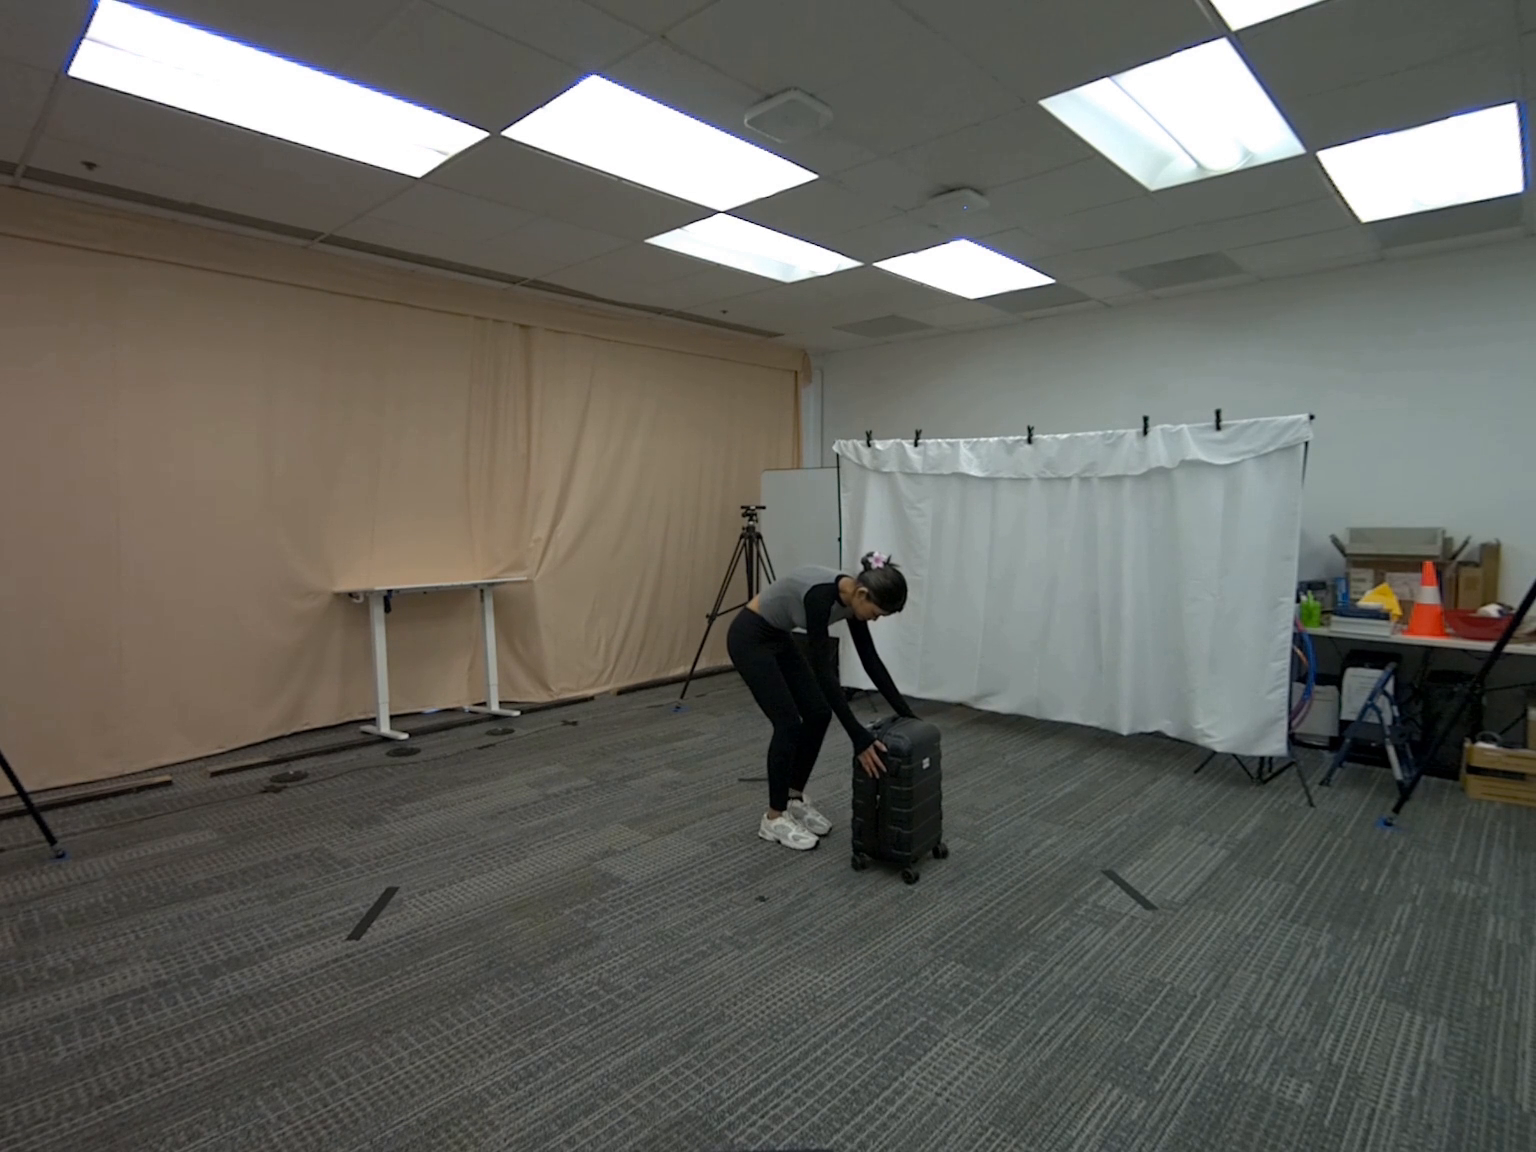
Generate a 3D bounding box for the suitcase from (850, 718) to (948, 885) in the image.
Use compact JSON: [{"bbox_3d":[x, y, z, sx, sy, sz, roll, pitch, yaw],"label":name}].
[{"bbox_3d":[0.516,0.845,3.290,0.256,0.549,0.364,1,2,35],"label":"suitcase"}]
